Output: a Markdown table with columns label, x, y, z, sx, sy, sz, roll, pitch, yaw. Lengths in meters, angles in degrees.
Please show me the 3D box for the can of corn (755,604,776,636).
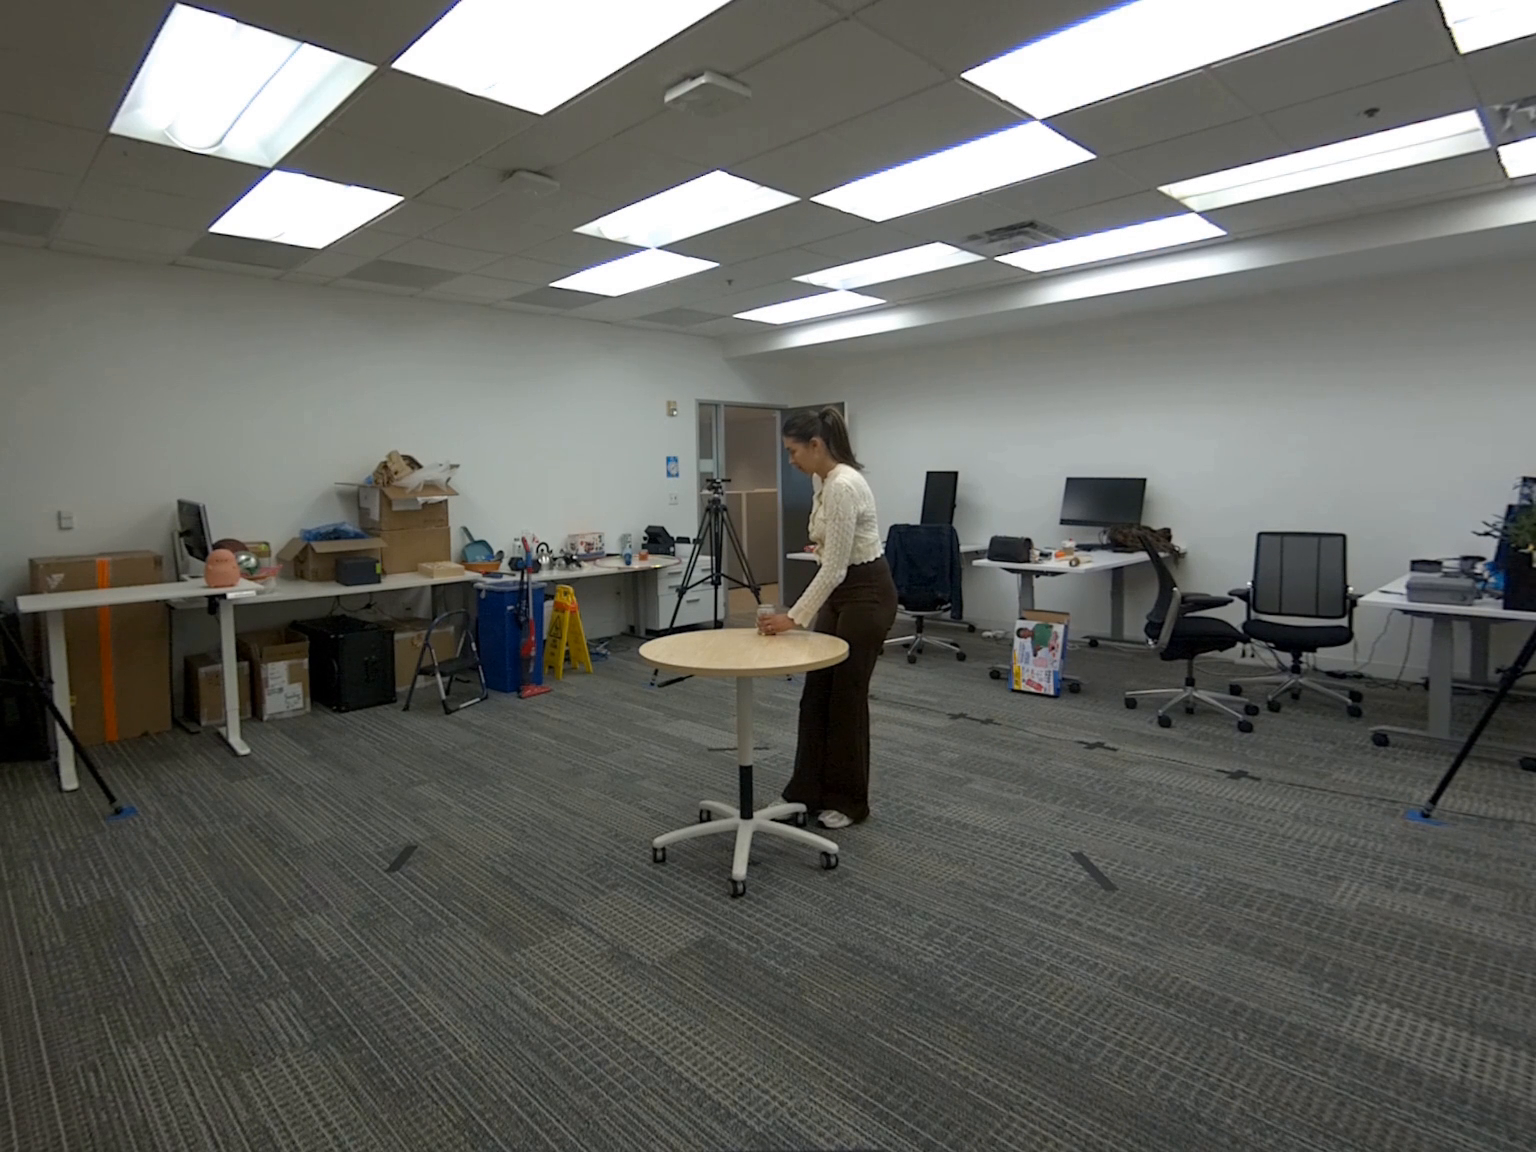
| label | x | y | z | sx | sy | sz | roll | pitch | yaw |
| --- | --- | --- | --- | --- | --- | --- | --- | --- | --- |
| can of corn | 0.000 | 0.173 | 3.376 | 0.074 | 0.110 | 0.074 | 0 | 5 | -2 |
